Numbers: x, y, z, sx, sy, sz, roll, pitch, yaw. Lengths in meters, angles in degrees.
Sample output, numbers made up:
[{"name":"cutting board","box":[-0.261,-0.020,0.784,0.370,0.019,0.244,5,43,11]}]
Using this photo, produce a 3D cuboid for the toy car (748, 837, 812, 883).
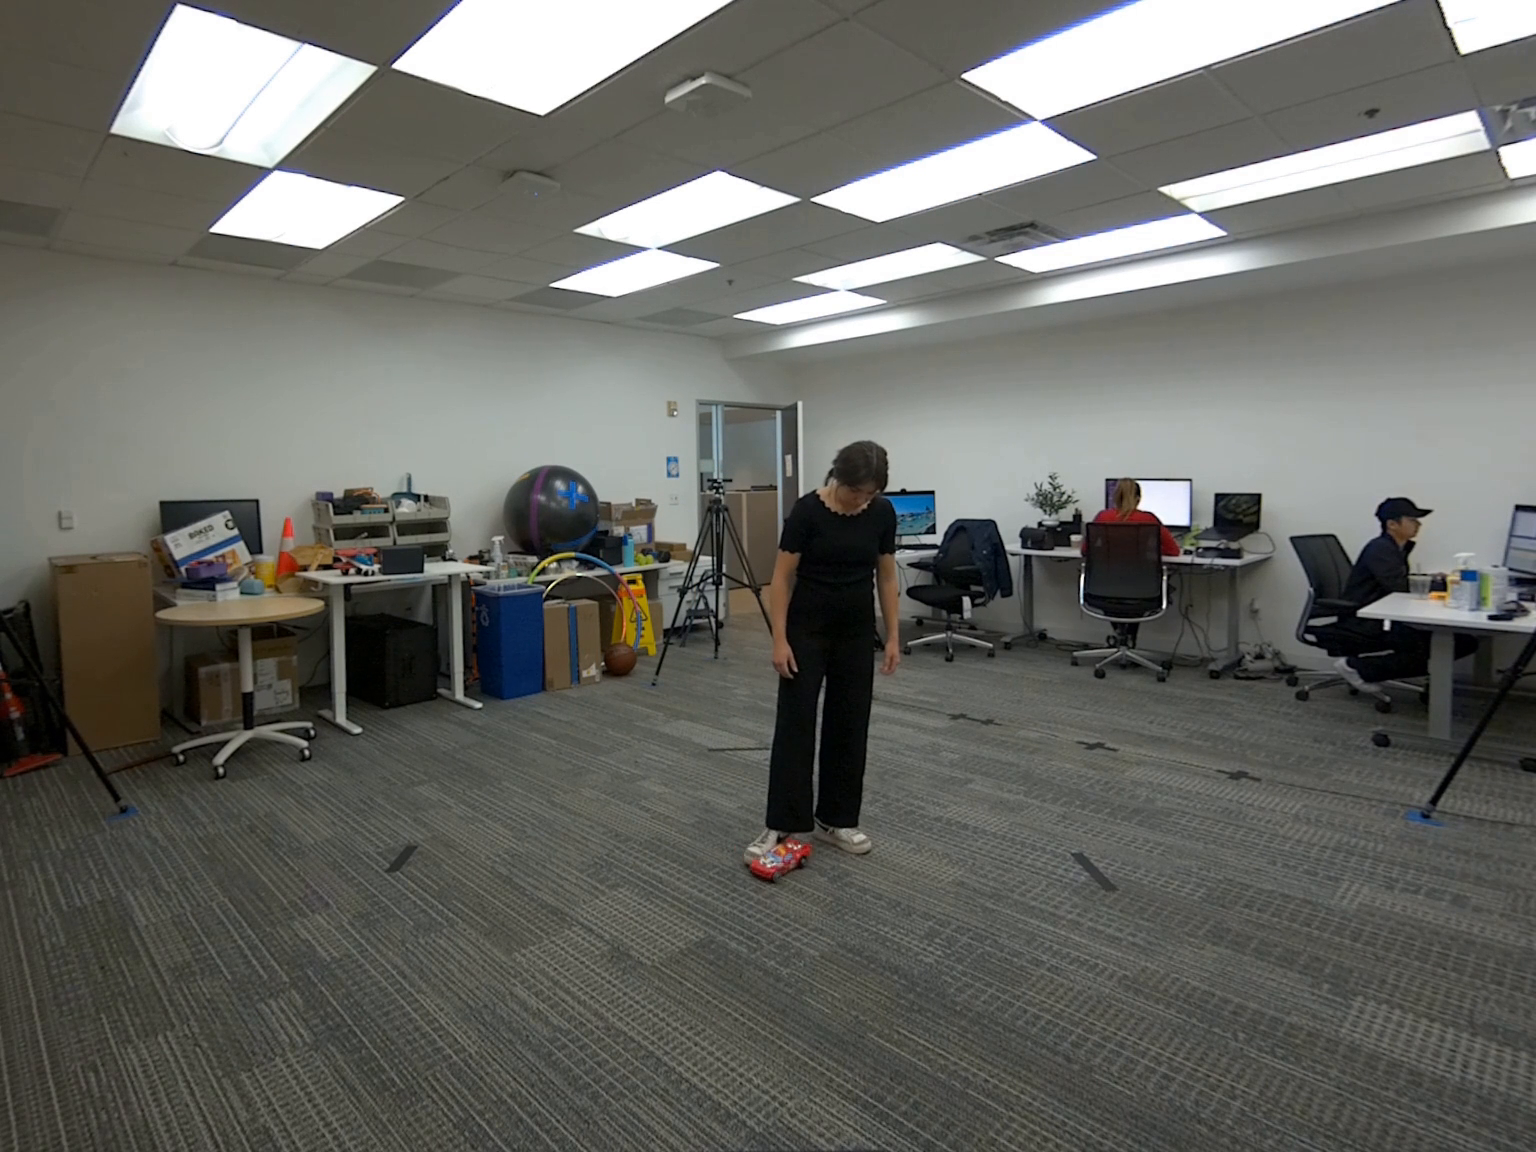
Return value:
[{"name":"toy car","box":[0.060,1.020,3.057,0.134,0.082,0.250,4,19,43]}]
